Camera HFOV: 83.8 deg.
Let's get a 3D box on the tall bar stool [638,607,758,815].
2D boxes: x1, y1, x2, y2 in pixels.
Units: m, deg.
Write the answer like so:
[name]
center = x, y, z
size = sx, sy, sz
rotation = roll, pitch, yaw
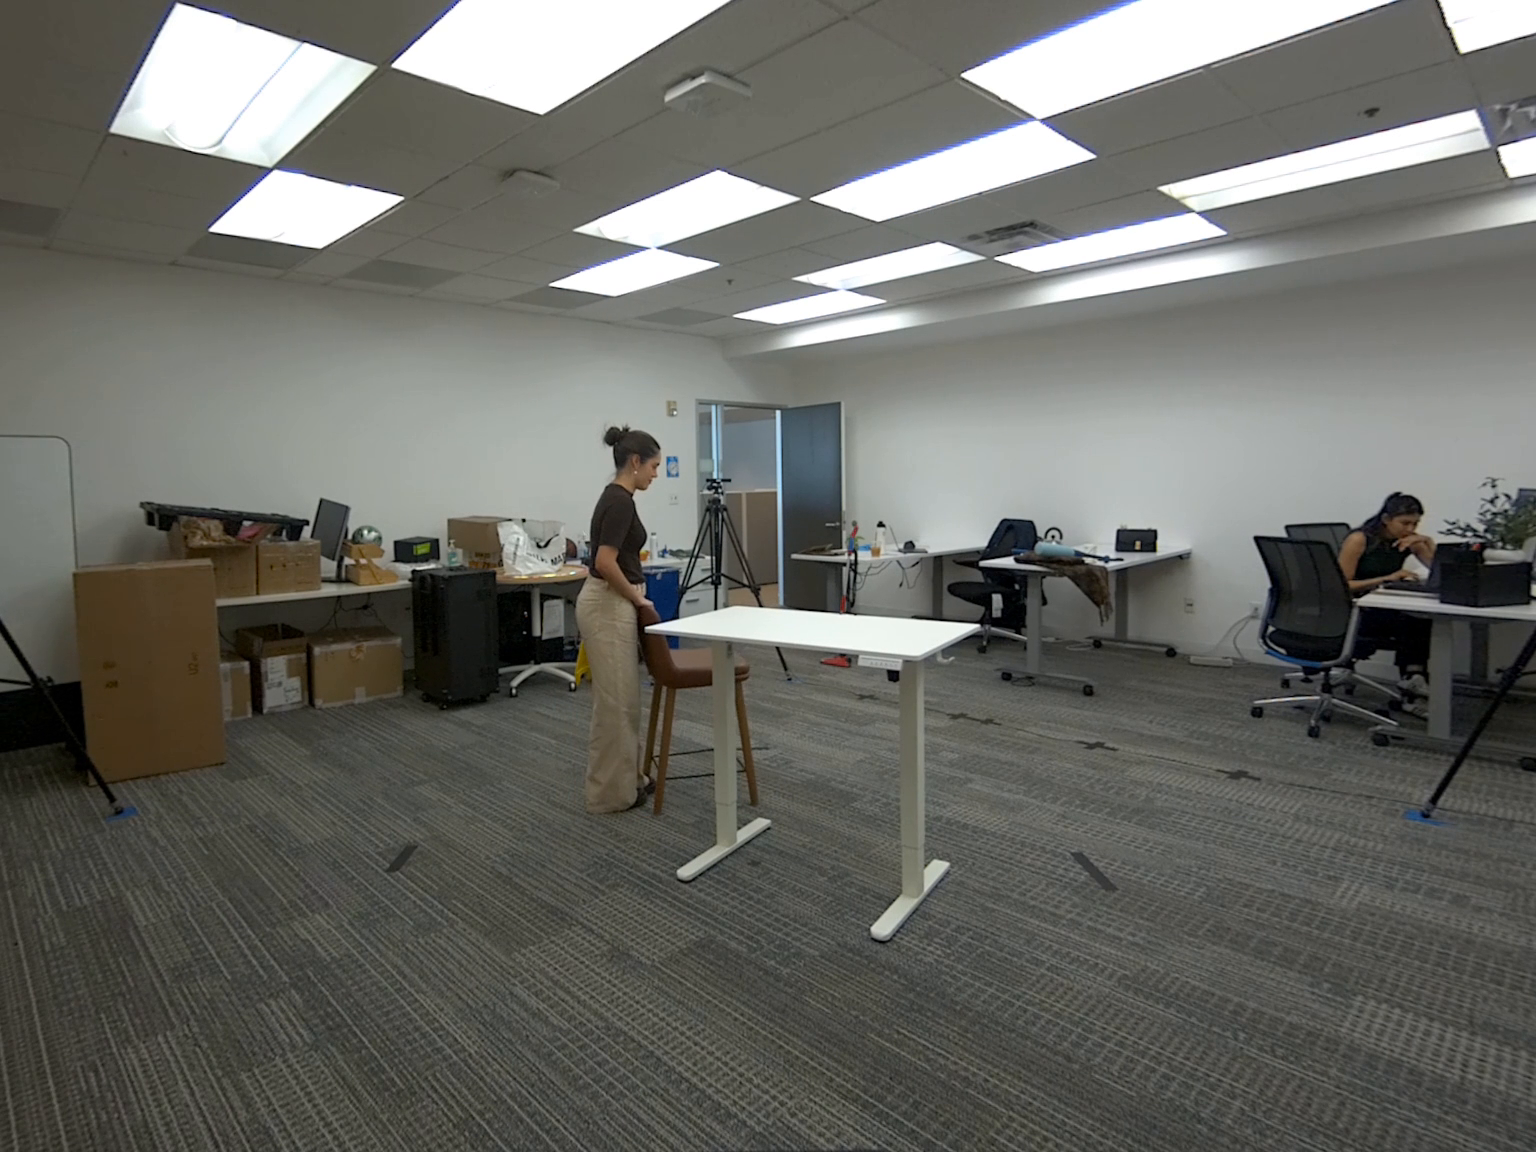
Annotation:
[tall bar stool]
center = -0.331, 0.535, 3.777
size = 0.462, 0.886, 0.464
rotation = -5, 4, -14
